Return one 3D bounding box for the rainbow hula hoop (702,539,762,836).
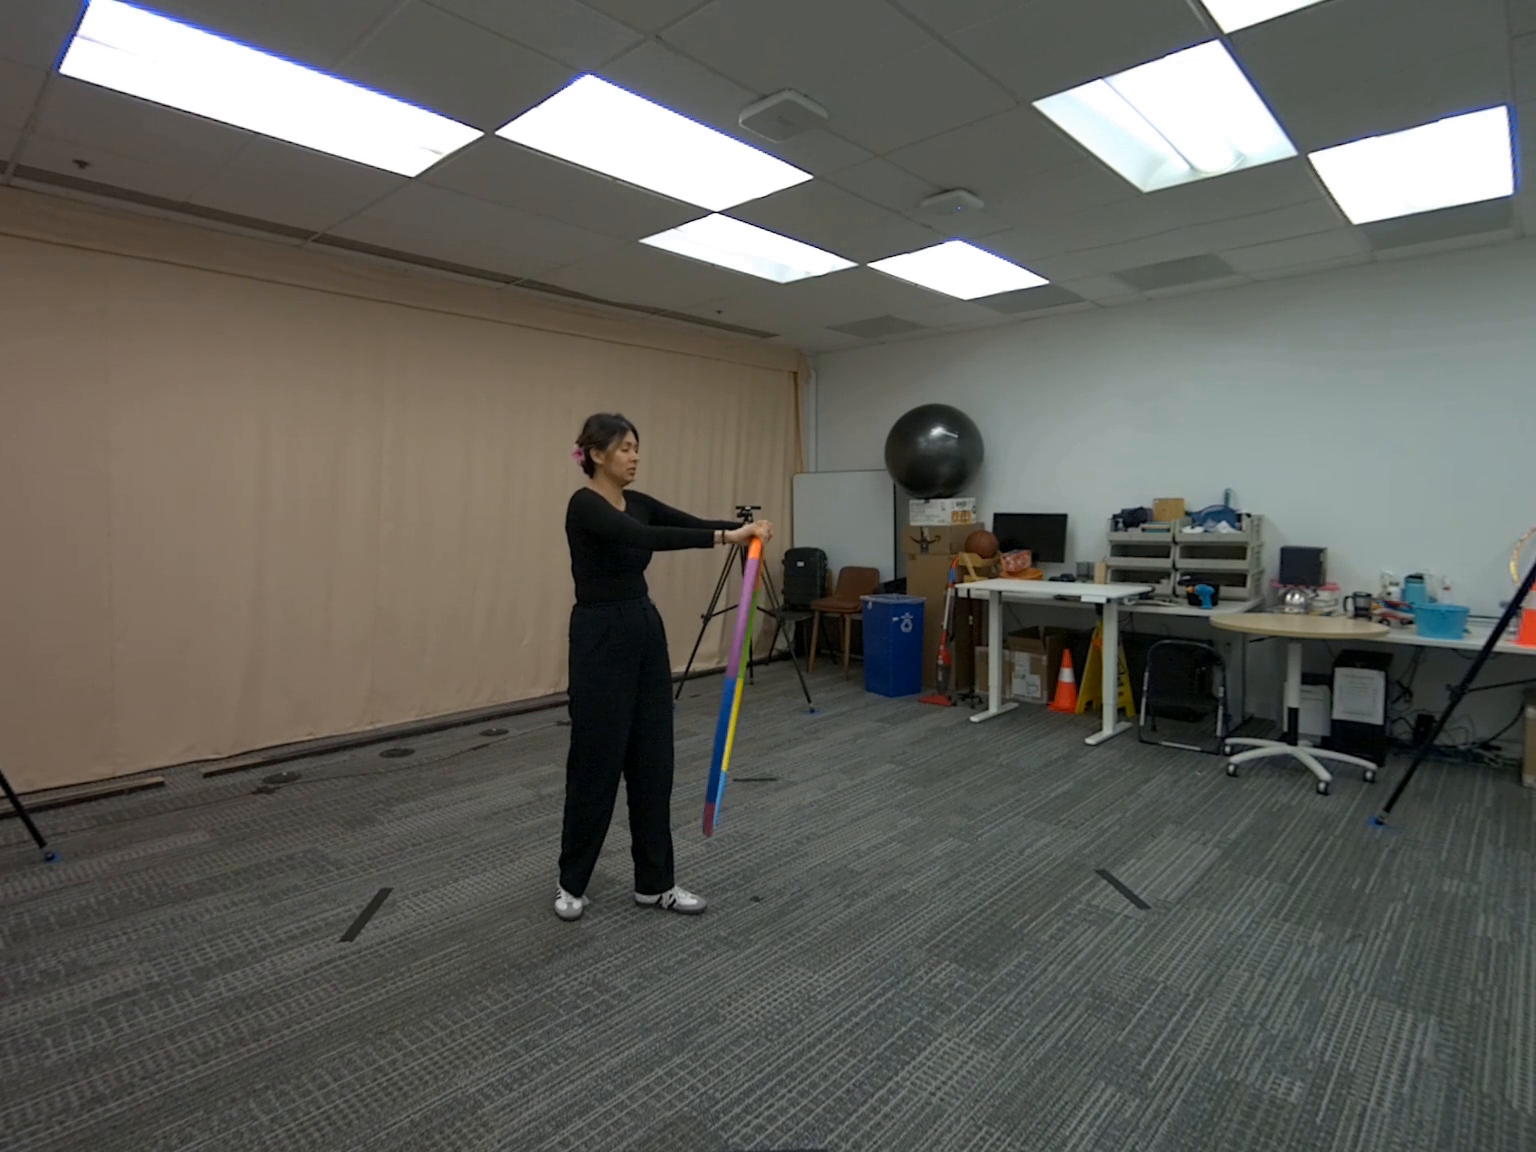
[{"bbox_3d":[-0.098,0.336,2.729,0.052,0.983,0.983,10,4,1],"label":"rainbow hula hoop"}]
